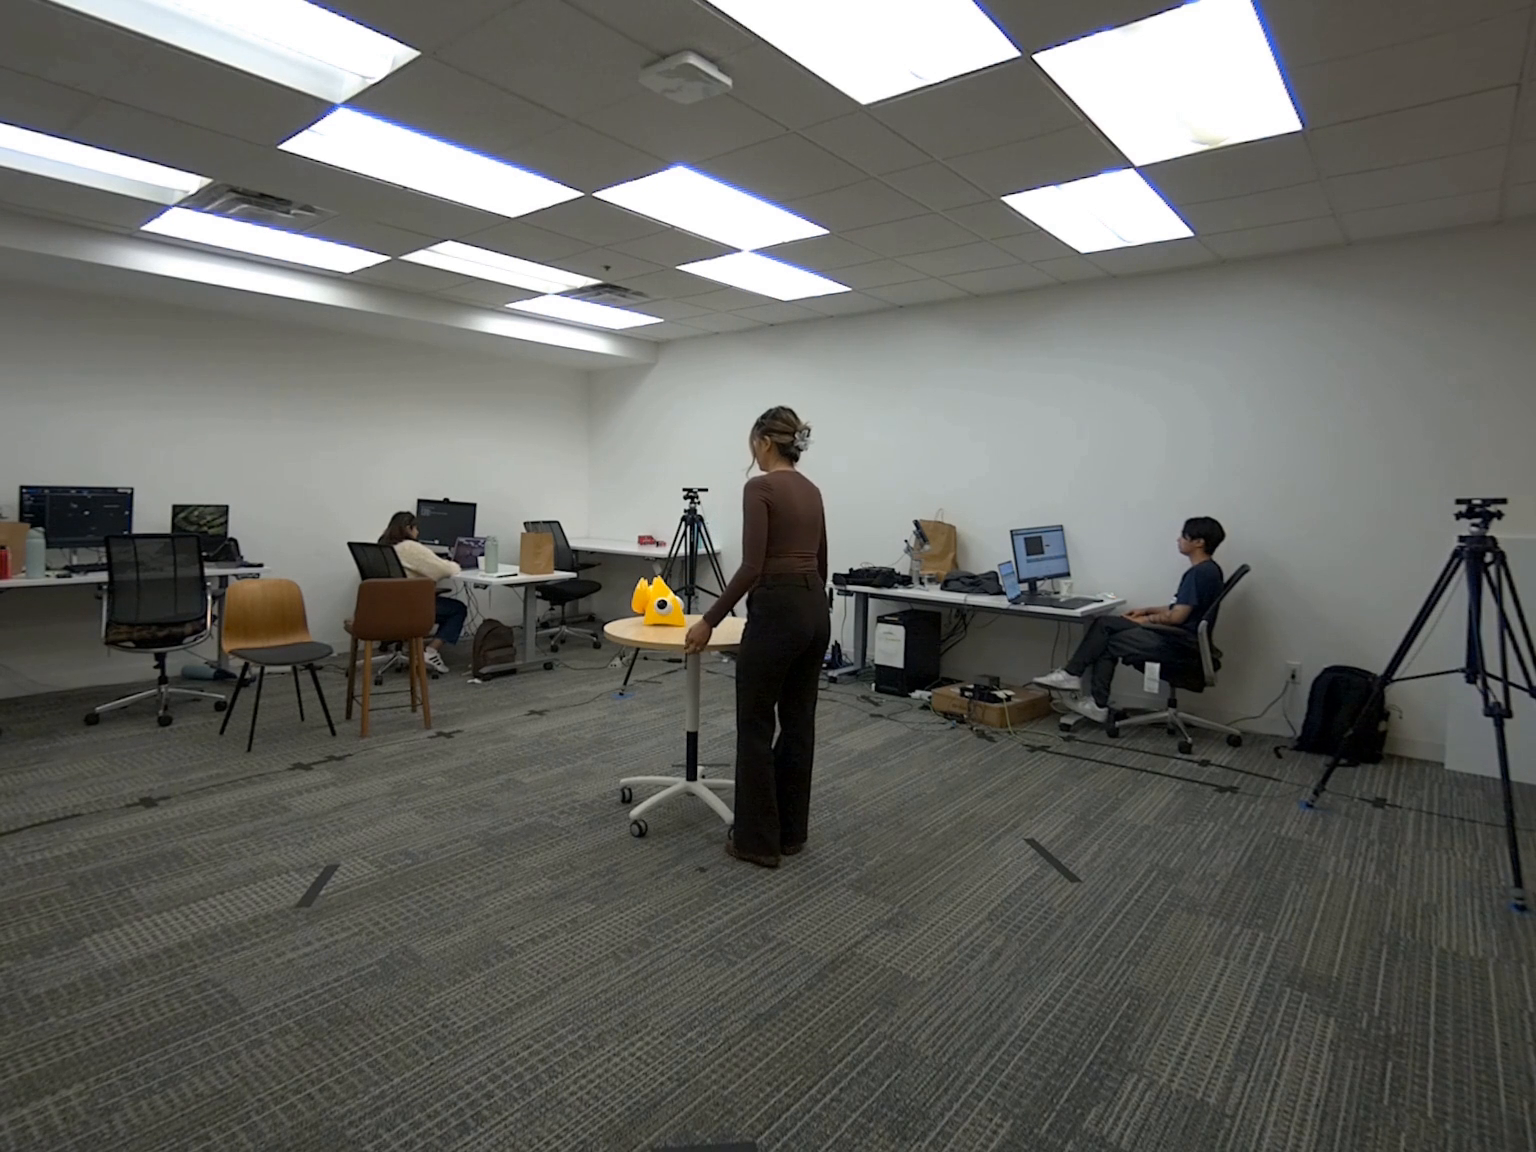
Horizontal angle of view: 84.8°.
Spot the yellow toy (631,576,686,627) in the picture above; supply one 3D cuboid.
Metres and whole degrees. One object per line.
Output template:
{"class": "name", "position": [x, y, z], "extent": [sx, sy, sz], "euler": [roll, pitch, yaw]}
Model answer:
{"class": "yellow toy", "position": [-0.453, 0.122, 3.717], "extent": [0.238, 0.191, 0.200], "euler": [19, 13, 27]}
